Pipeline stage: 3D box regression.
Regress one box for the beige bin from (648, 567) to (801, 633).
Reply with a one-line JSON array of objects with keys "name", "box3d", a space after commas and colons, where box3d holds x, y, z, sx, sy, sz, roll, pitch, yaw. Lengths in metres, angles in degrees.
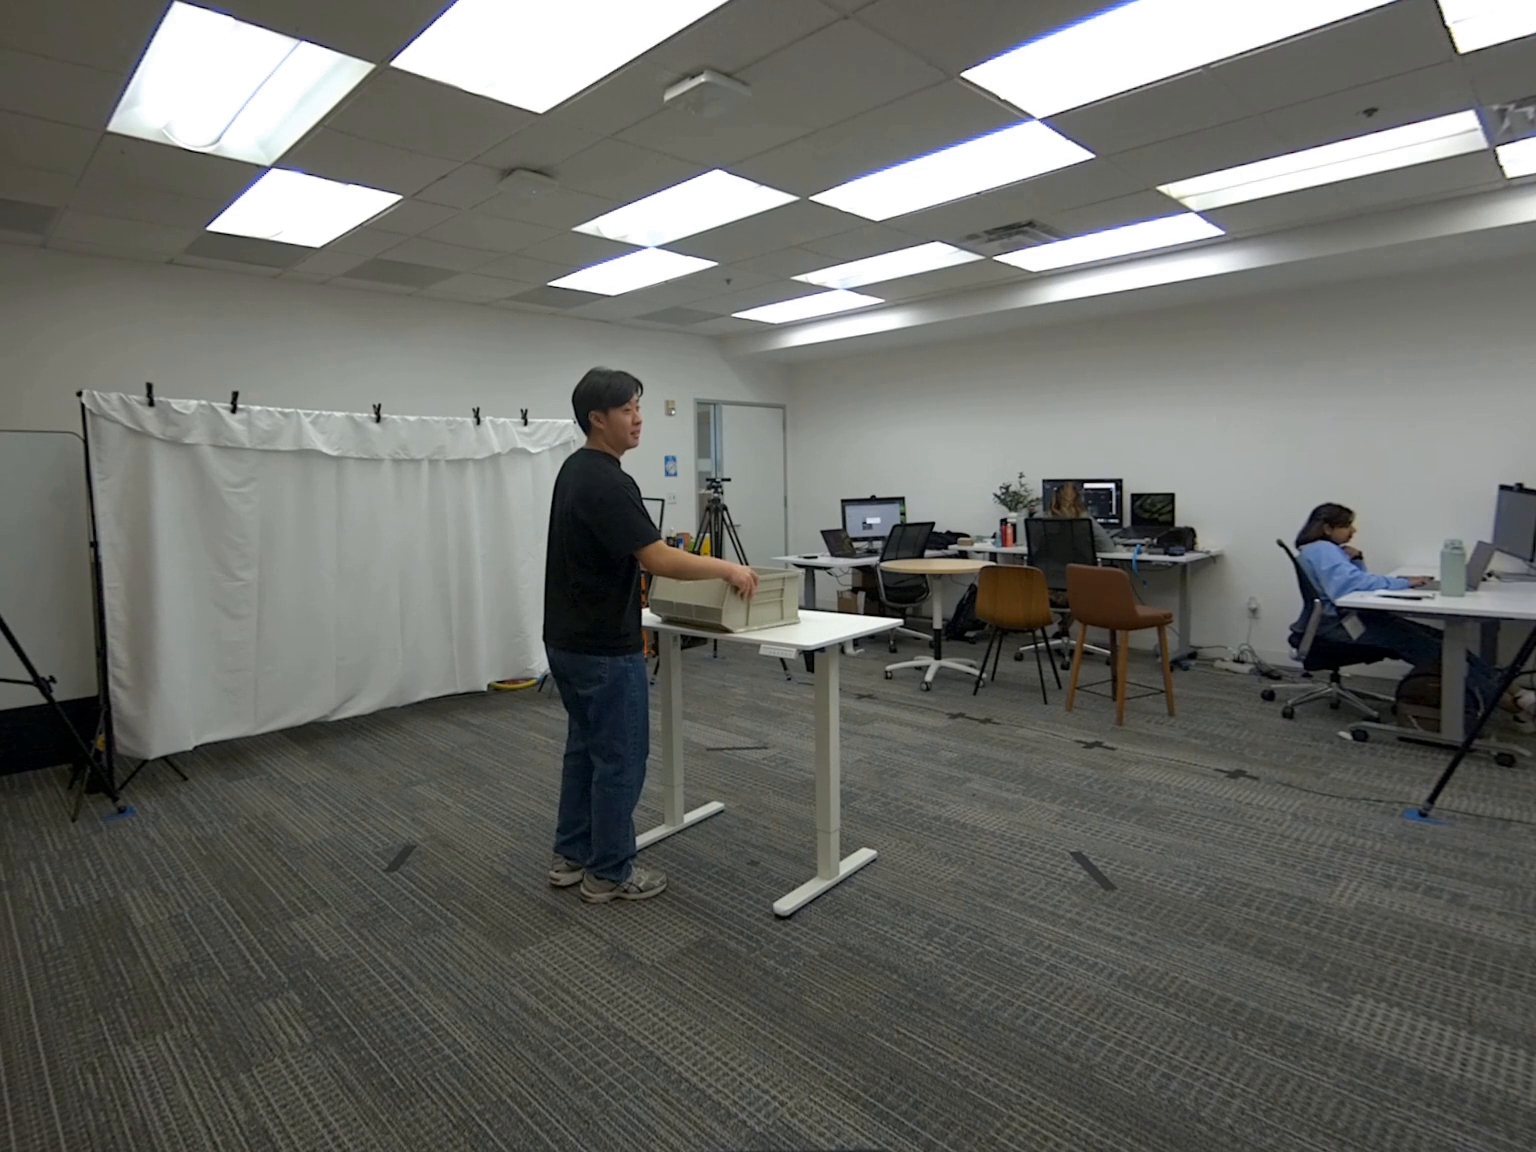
[{"name": "beige bin", "box3d": [-0.149, 0.071, 3.033, 0.367, 0.188, 0.435, -5, 5, -41]}]
